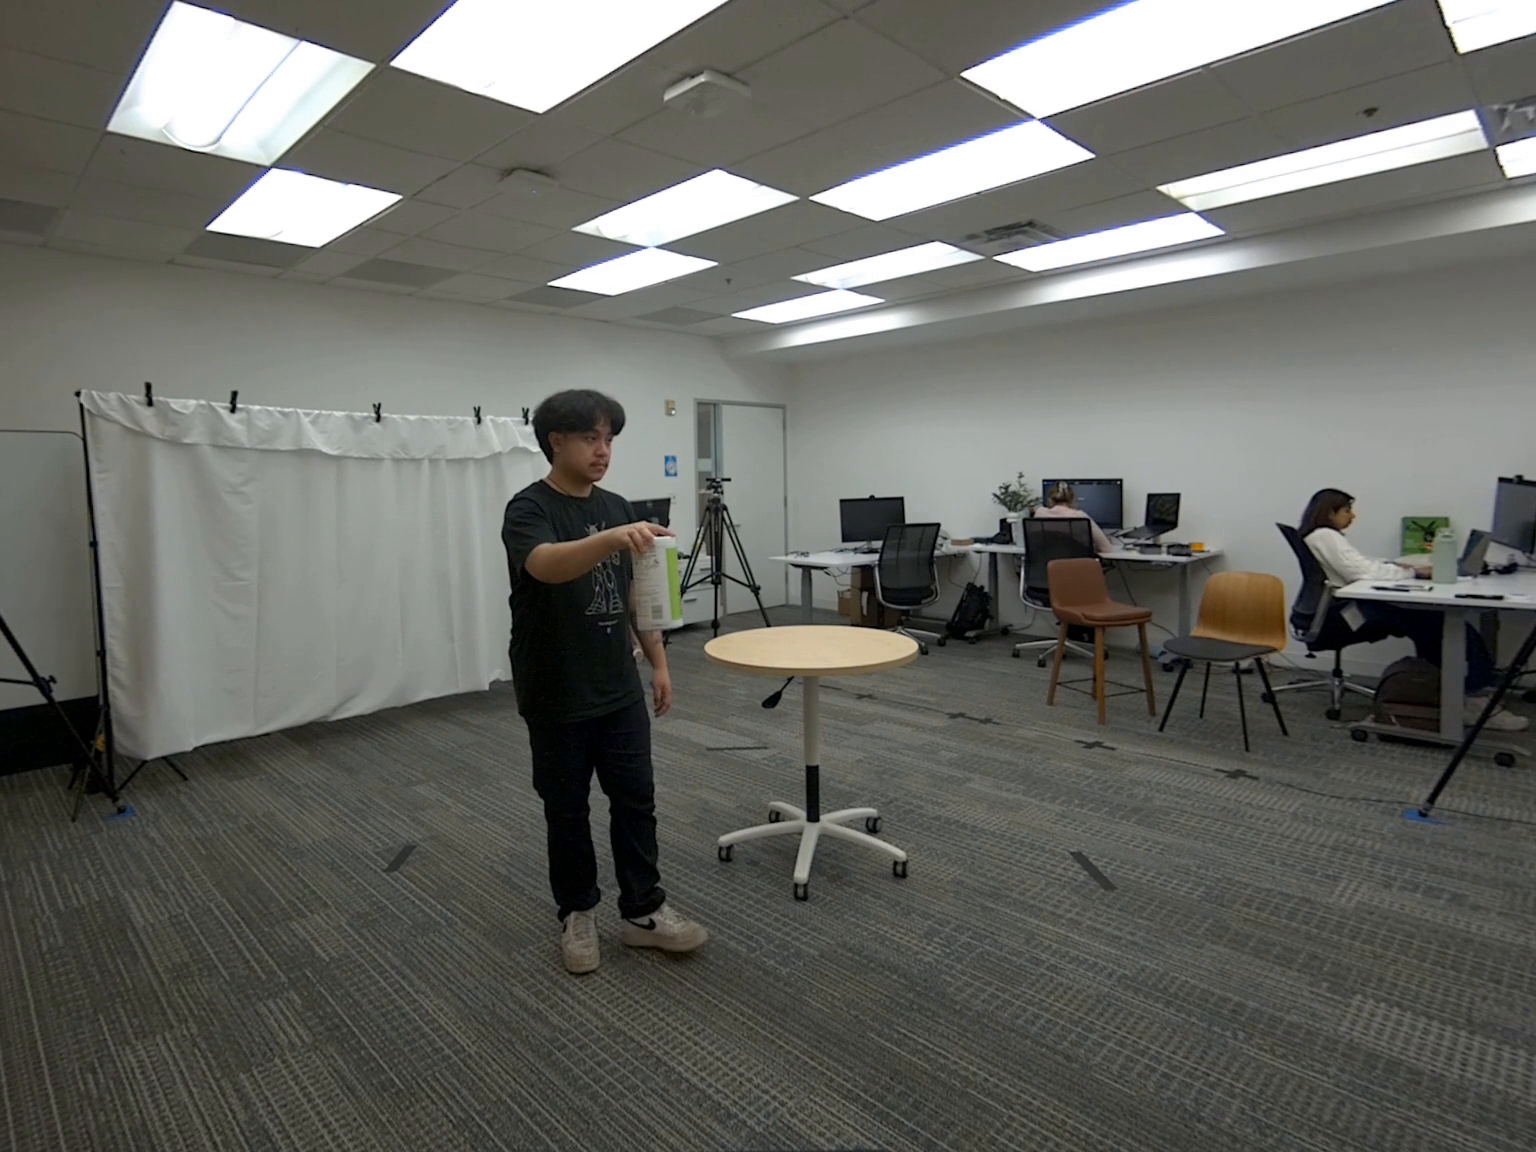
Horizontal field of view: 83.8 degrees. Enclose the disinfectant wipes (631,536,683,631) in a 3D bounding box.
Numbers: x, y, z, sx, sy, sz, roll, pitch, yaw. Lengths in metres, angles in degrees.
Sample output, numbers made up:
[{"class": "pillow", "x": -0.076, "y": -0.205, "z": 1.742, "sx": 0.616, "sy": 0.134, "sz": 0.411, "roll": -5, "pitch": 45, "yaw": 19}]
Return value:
[{"class": "disinfectant wipes", "x": -0.261, "y": 0.019, "z": 2.007, "sx": 0.118, "sy": 0.218, "sz": 0.118, "roll": -4, "pitch": -1, "yaw": -2}]
